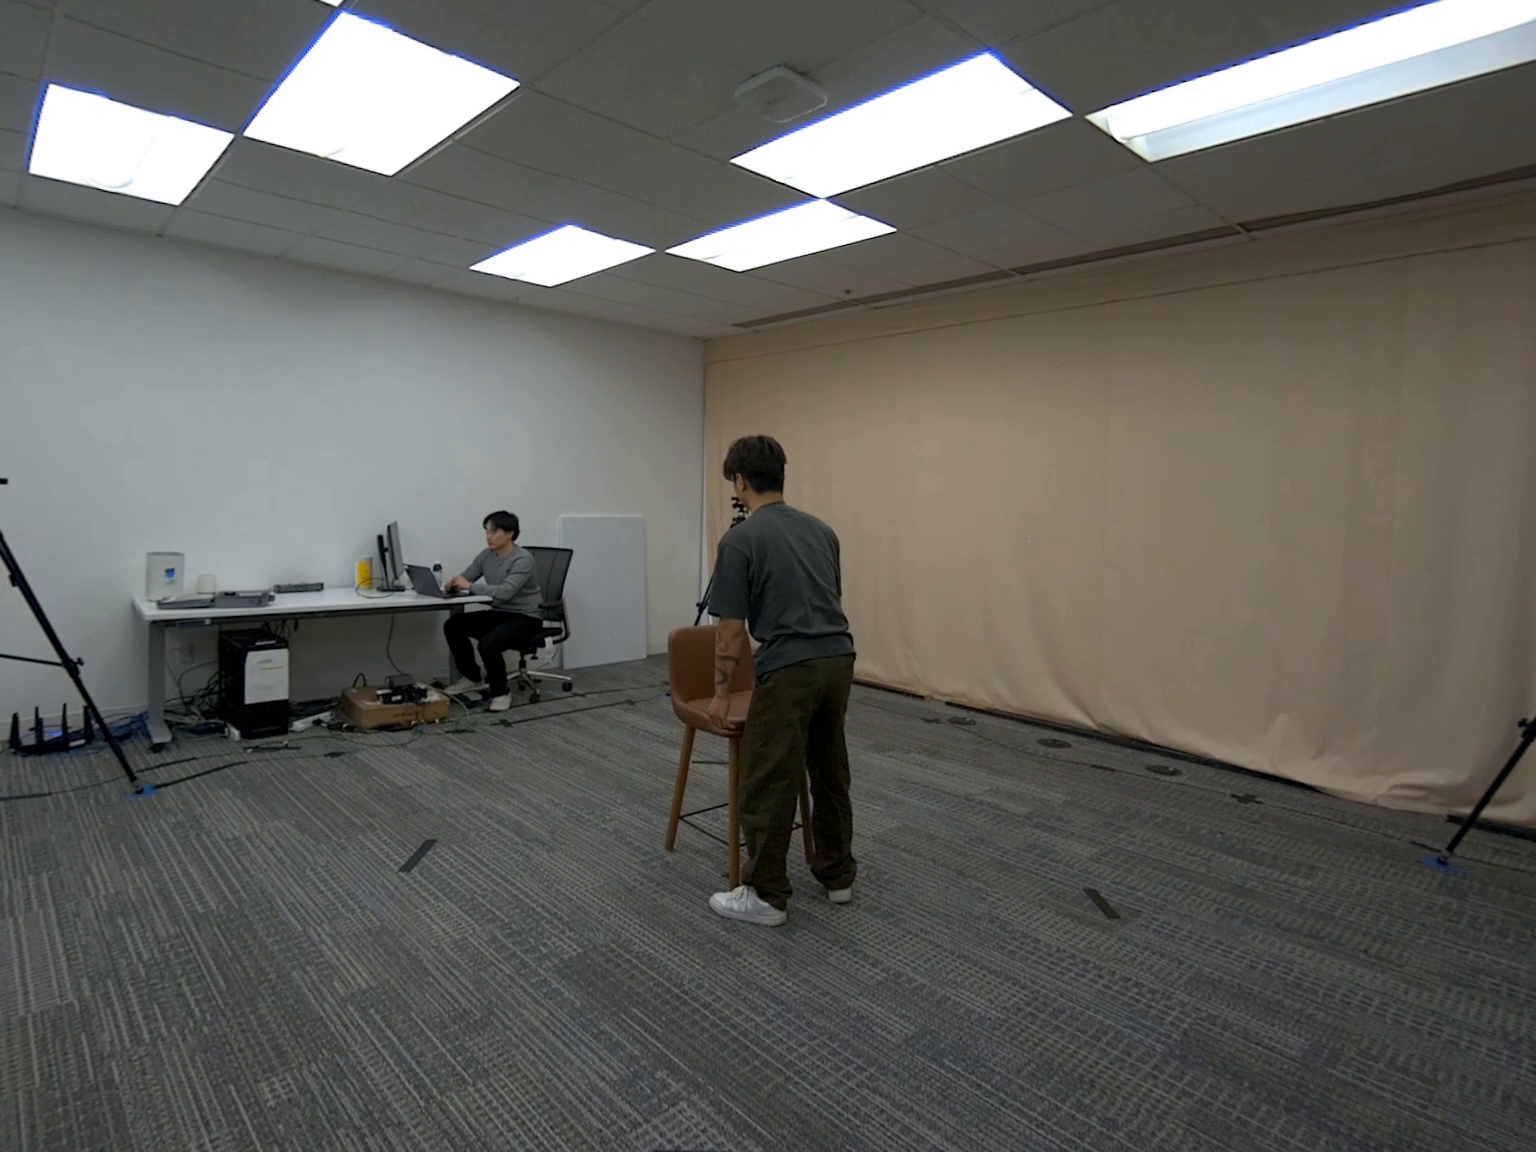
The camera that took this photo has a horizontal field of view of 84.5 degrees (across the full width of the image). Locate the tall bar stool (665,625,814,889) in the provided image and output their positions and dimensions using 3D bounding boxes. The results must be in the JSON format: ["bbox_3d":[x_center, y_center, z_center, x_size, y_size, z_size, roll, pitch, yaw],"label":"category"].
[{"bbox_3d":[-0.124,0.658,3.244,0.446,0.888,0.479,-2,3,-40],"label":"tall bar stool"}]
